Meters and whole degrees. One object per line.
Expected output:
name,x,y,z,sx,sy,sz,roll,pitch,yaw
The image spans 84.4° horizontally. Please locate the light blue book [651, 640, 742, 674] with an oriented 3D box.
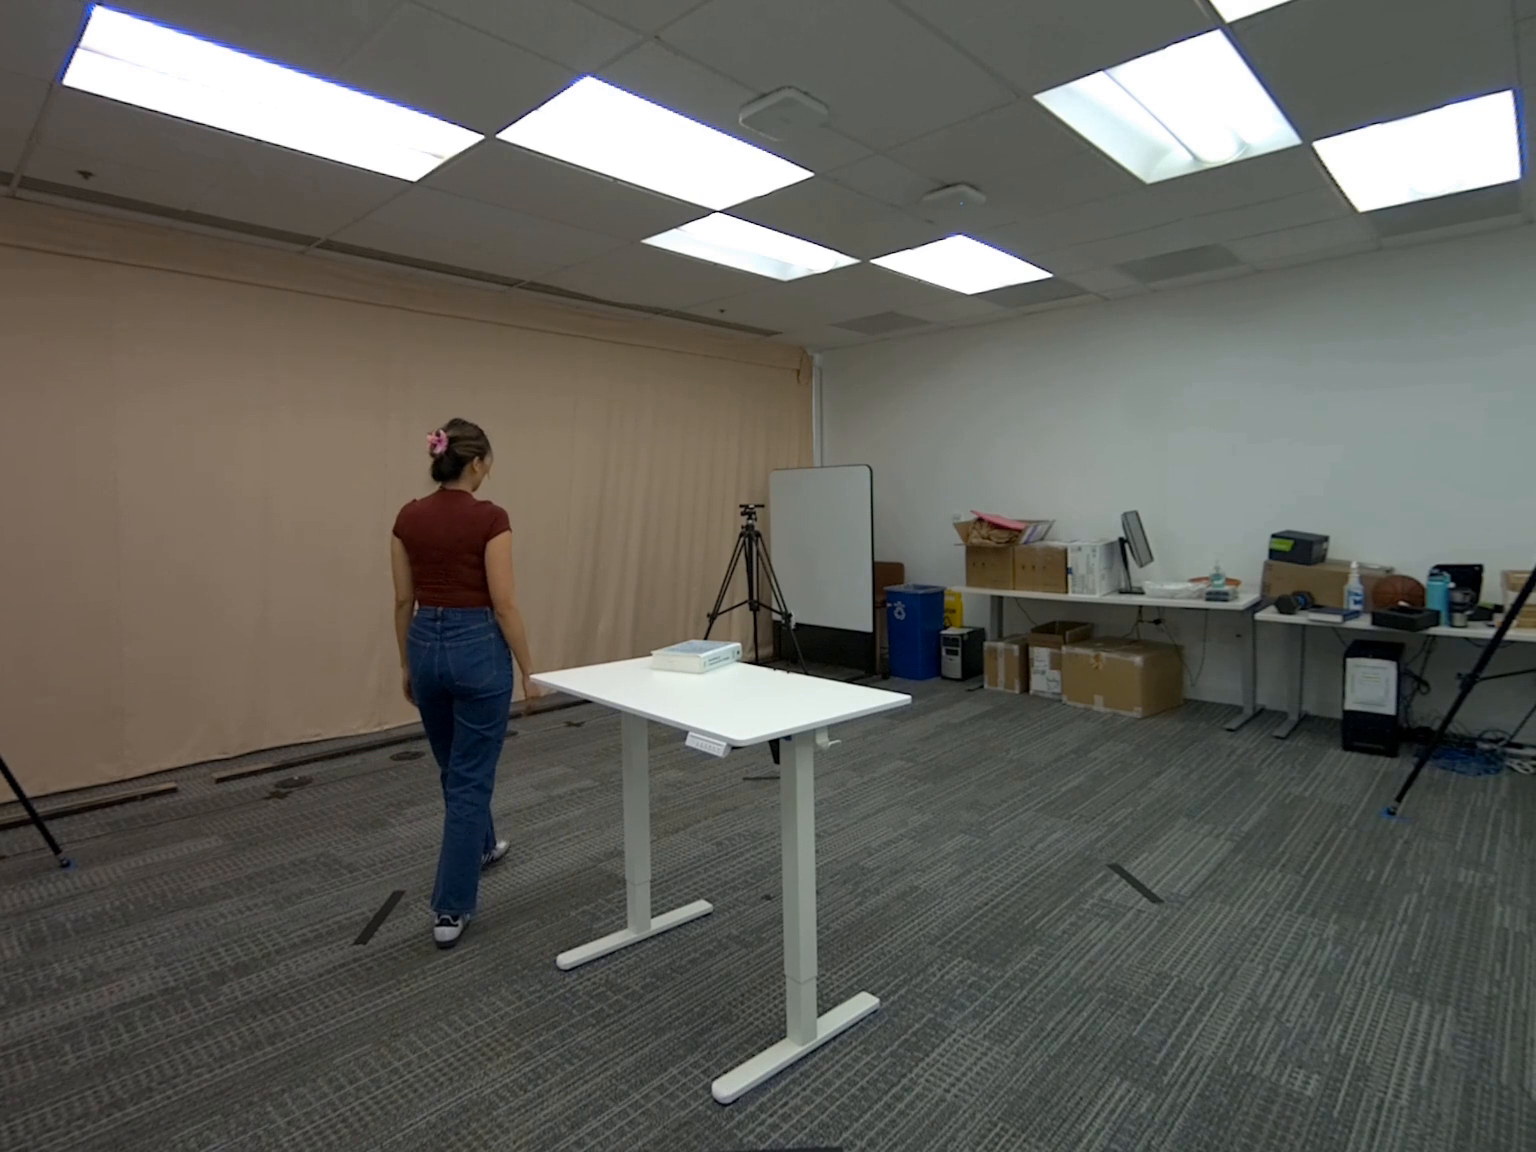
light blue book,-0.237,0.256,2.715,0.196,0.059,0.255,1,6,28
